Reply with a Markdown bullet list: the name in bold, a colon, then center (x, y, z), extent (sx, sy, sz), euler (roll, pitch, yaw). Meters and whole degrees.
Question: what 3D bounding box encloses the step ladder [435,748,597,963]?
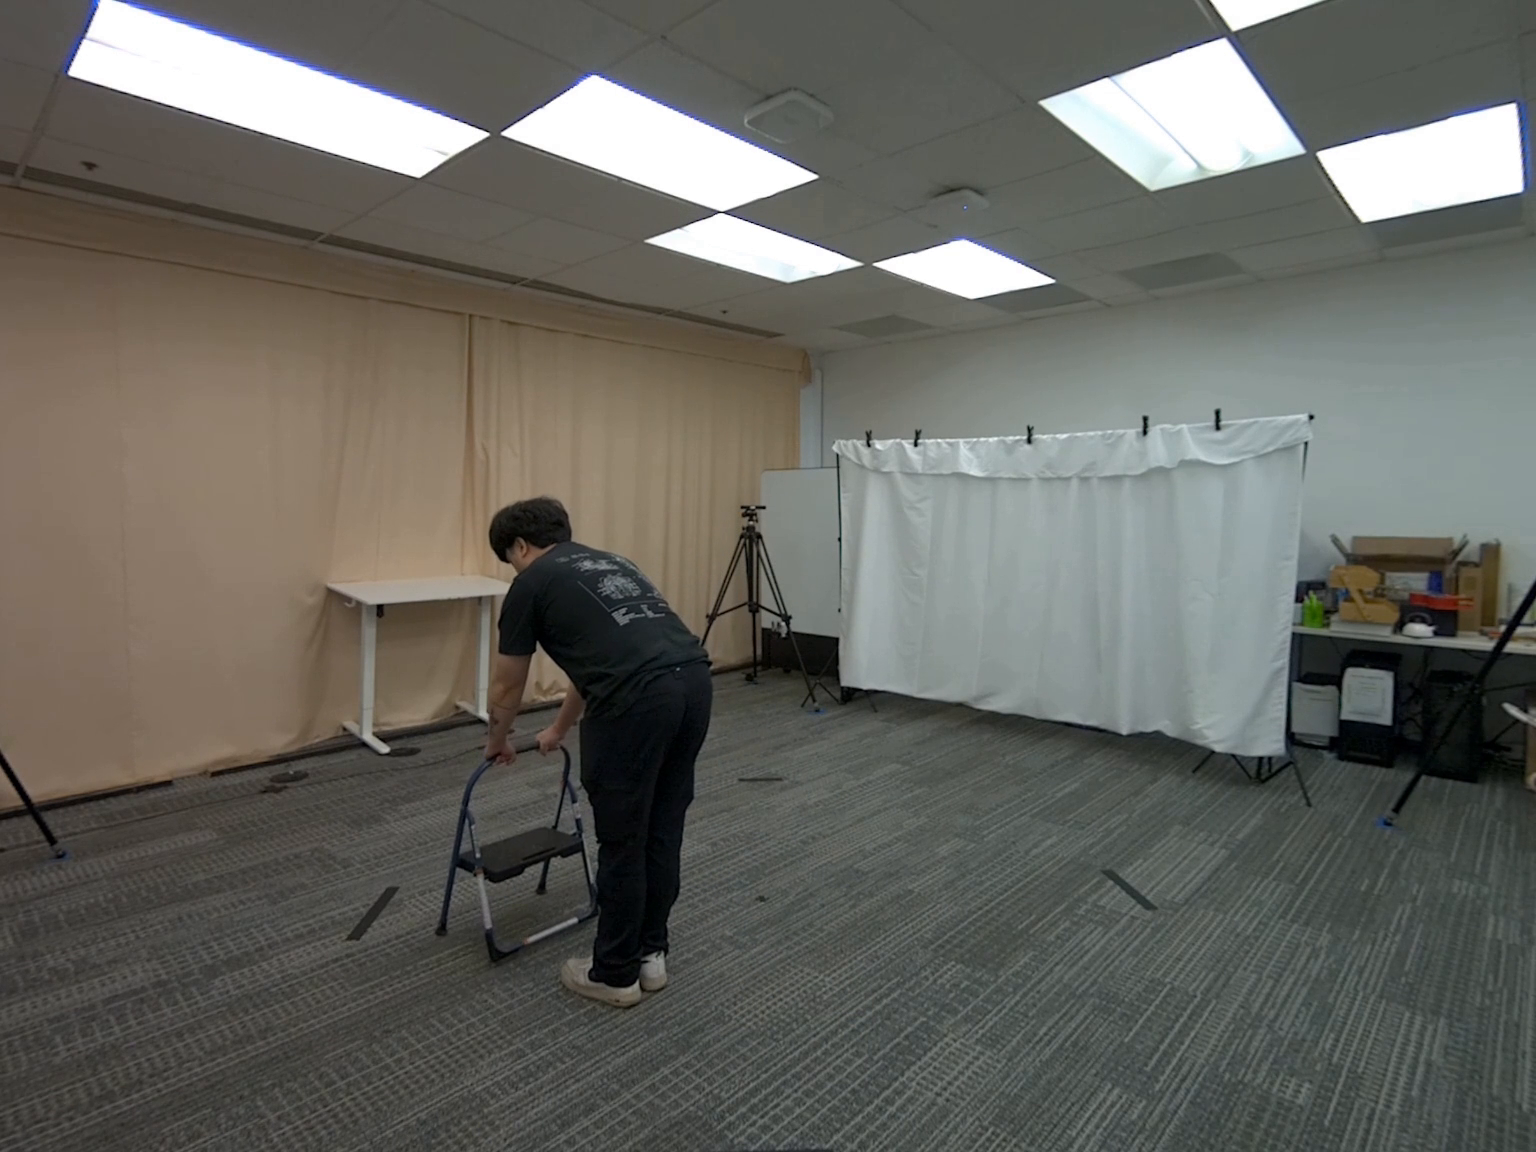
- **step ladder**: center (-0.840, 0.853, 2.791), extent (0.360, 0.605, 0.417), euler (-2, 2, 40)
